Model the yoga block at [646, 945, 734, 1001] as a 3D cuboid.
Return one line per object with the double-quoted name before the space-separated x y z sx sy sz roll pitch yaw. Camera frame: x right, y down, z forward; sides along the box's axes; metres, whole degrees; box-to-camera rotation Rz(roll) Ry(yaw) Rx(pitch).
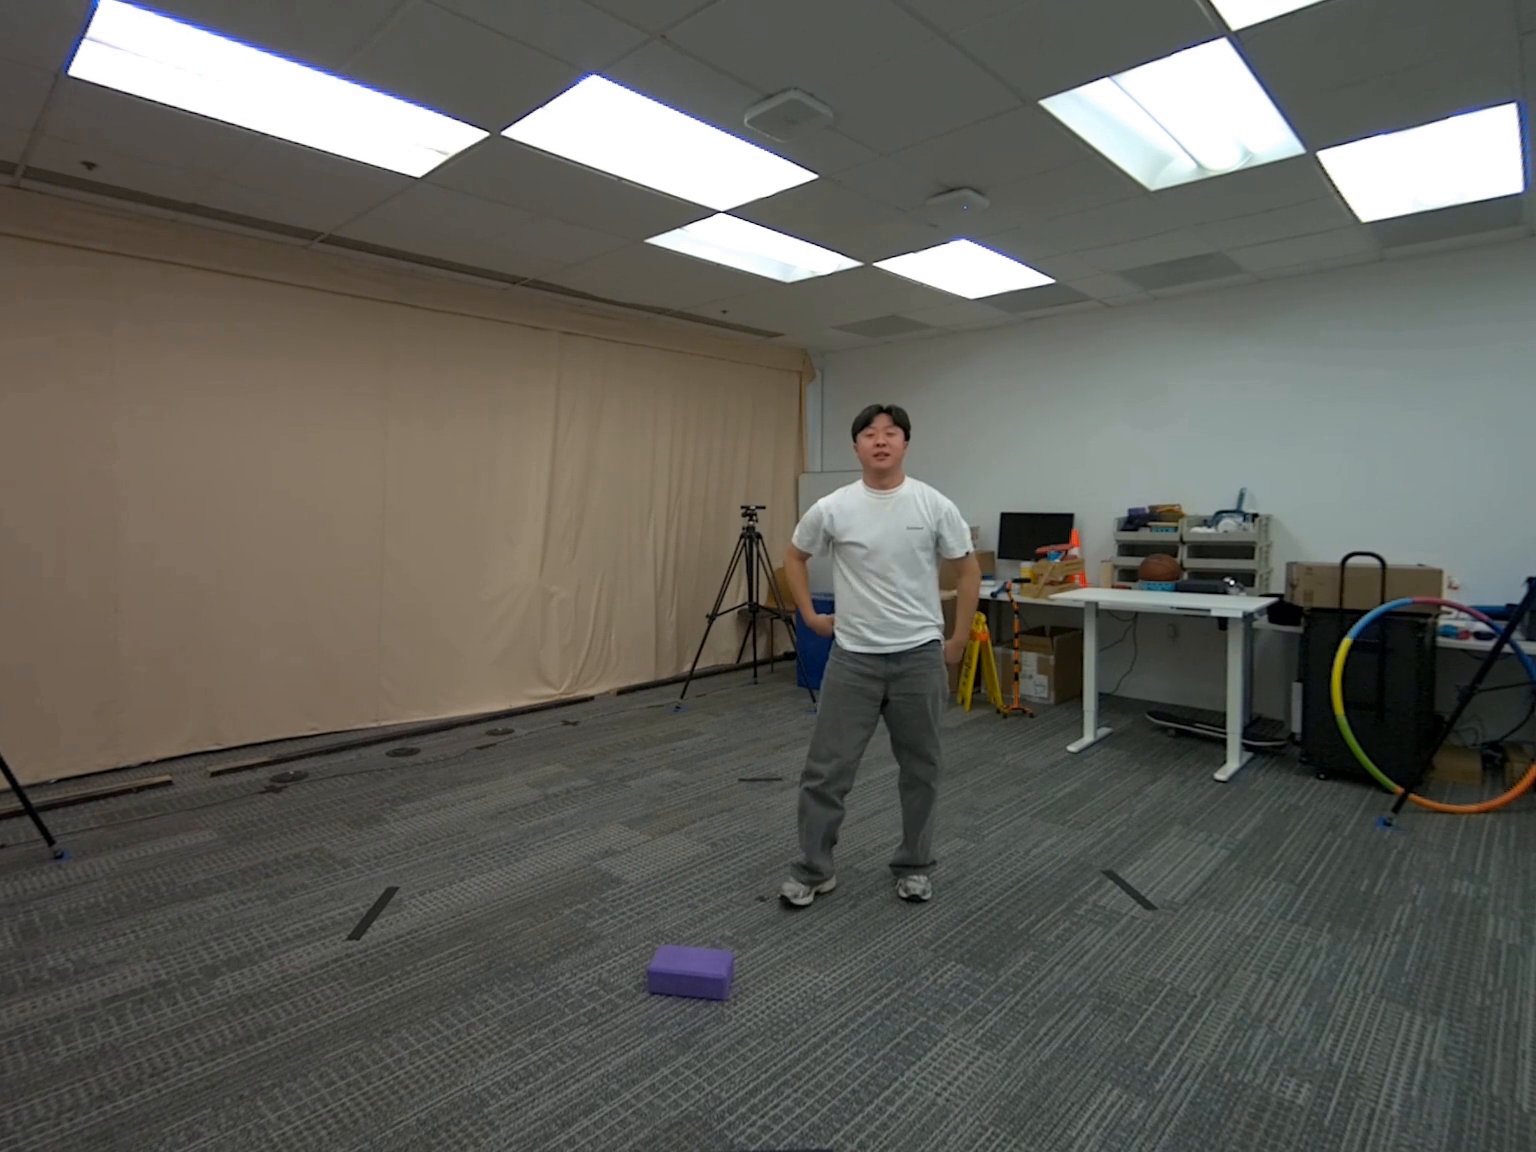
"yoga block" -0.214 1.154 2.446 0.232 0.076 0.147 1 3 11
